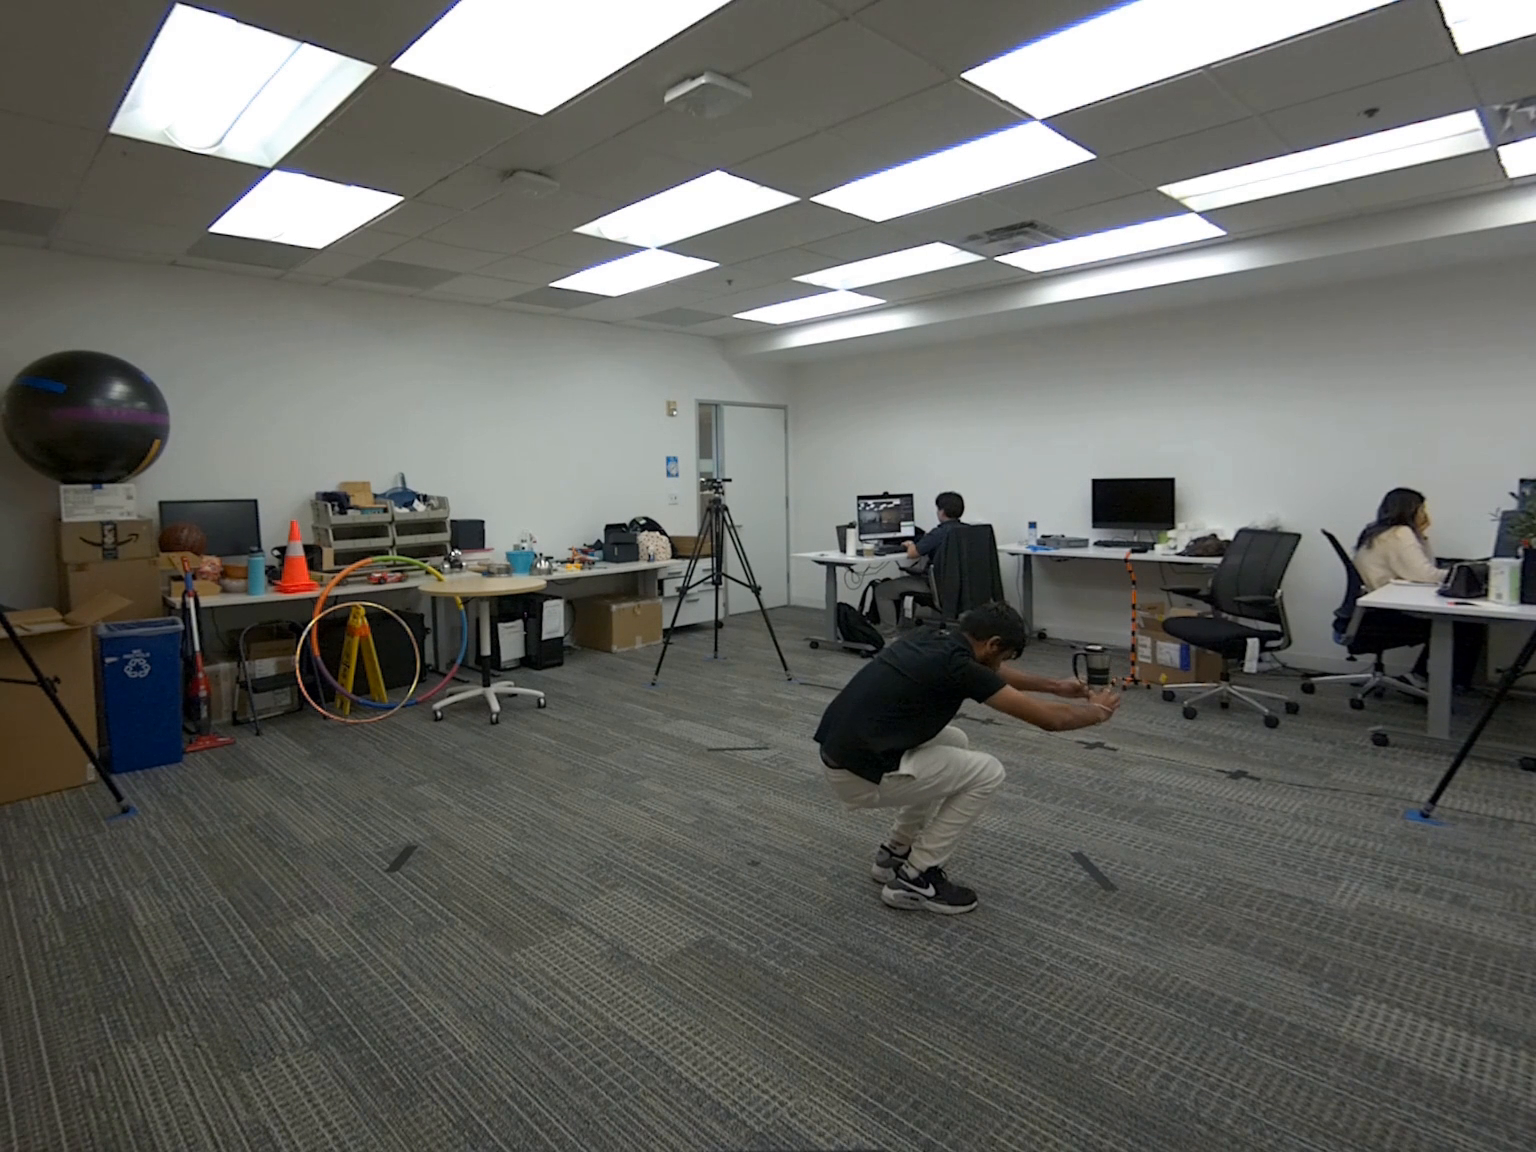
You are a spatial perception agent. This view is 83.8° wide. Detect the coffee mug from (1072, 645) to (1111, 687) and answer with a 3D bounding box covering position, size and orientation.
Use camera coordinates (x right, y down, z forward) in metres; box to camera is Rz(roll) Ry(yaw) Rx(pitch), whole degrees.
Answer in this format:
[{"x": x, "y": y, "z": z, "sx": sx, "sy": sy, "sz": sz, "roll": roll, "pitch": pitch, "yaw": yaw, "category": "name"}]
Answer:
[{"x": 1.130, "y": 0.349, "z": 2.988, "sx": 0.126, "sy": 0.201, "sz": 0.086, "roll": 7, "pitch": 11, "yaw": 41, "category": "coffee mug"}]
